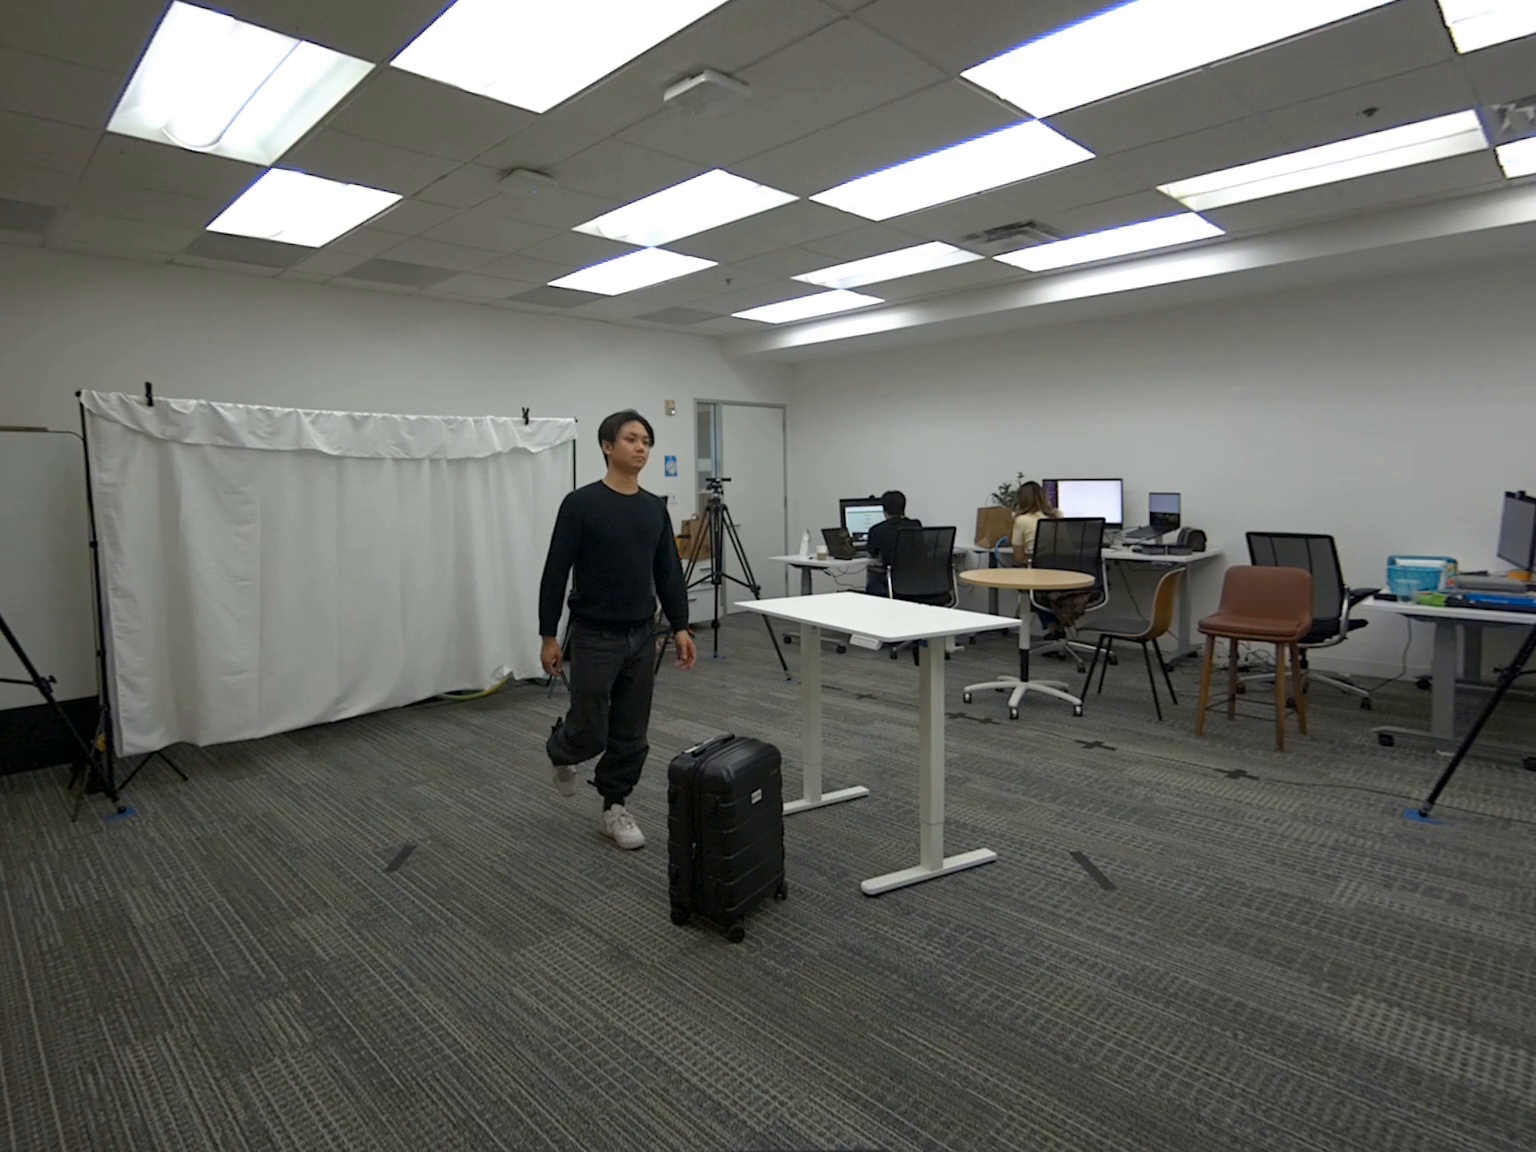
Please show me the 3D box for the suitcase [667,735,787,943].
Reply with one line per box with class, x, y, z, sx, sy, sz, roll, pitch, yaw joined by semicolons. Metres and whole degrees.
suitcase;-0.127;0.807;2.746;0.255;0.547;0.366;2;6;33
